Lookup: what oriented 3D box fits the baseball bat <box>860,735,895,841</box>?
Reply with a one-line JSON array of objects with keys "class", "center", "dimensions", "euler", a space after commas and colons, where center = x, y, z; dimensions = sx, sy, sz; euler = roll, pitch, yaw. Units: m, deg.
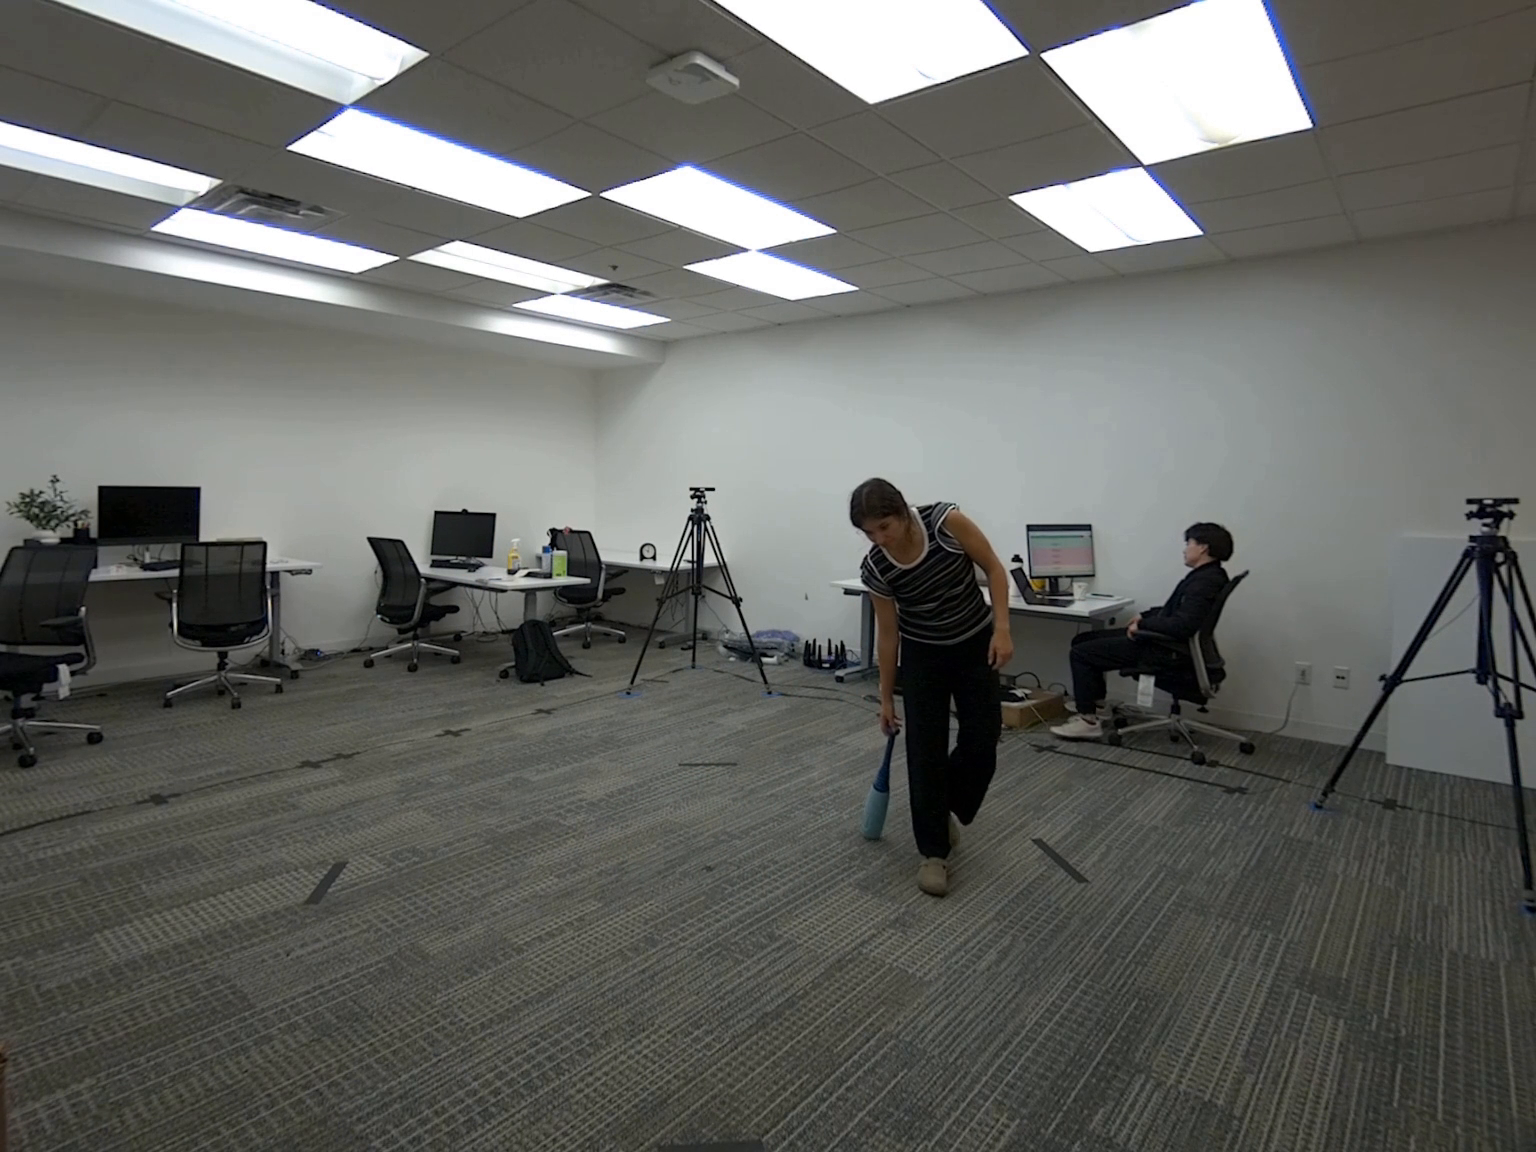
[{"class": "baseball bat", "center": [0.436, 0.808, 3.320], "dimensions": [0.089, 0.532, 0.091], "euler": [5, 28, -5]}]
